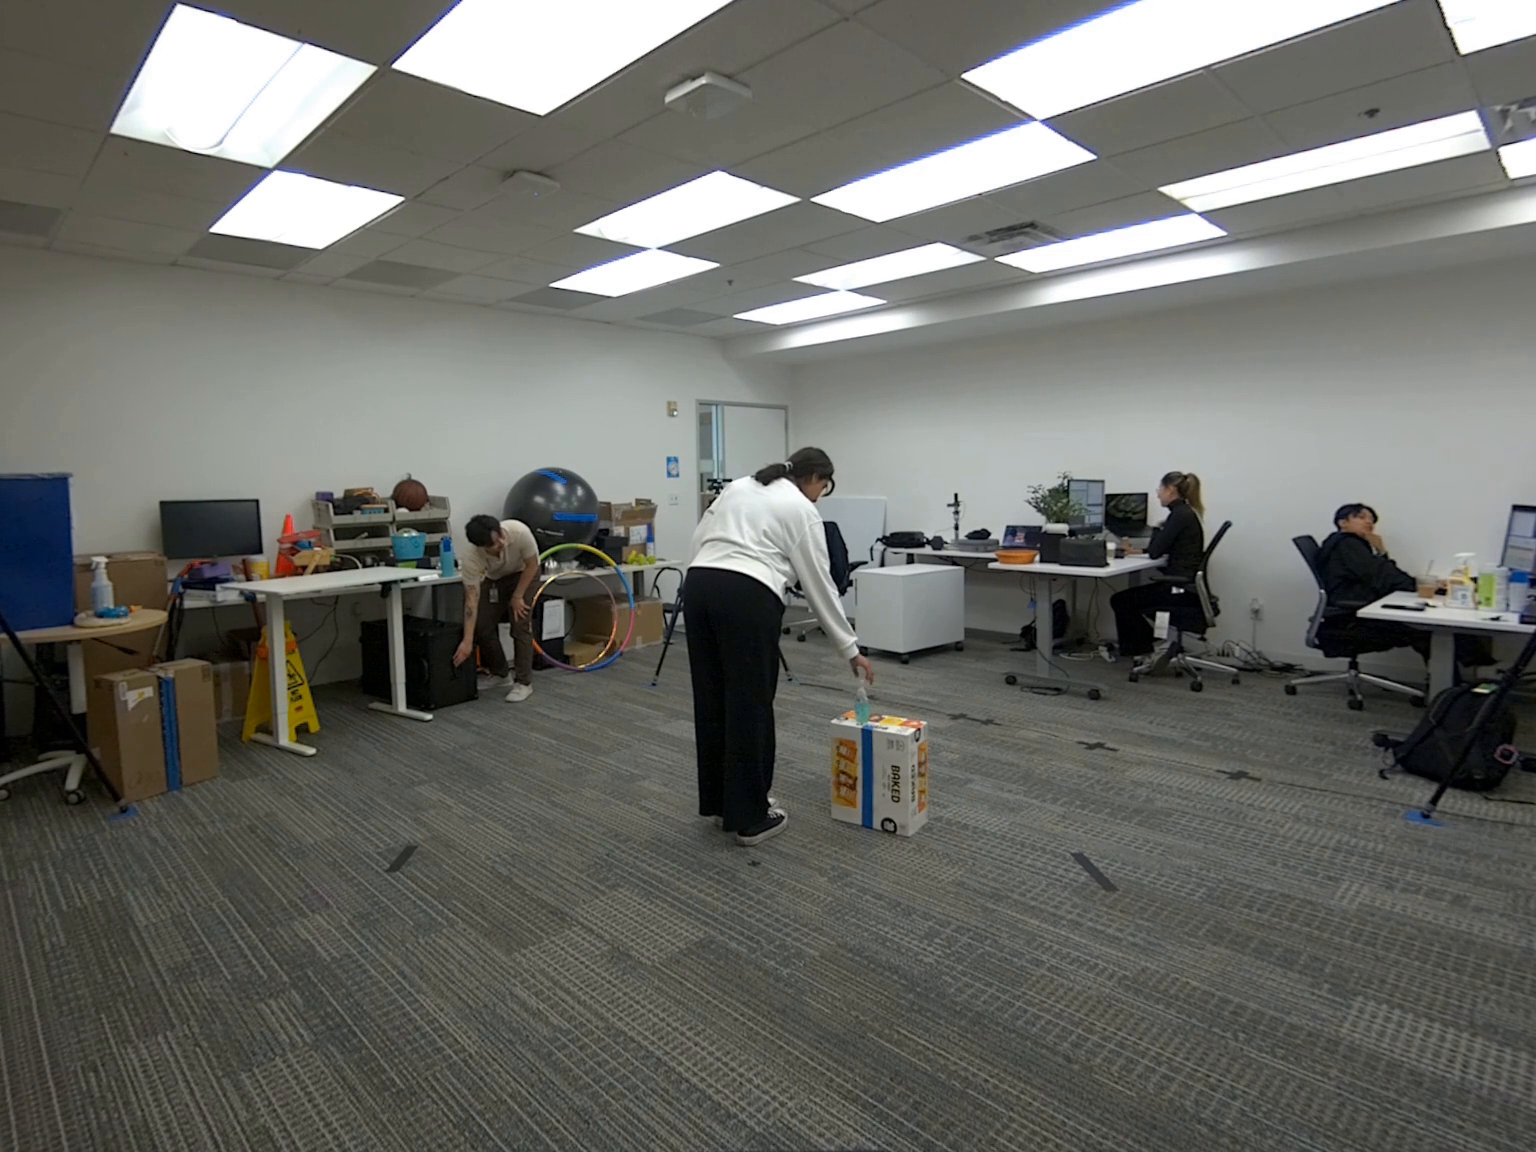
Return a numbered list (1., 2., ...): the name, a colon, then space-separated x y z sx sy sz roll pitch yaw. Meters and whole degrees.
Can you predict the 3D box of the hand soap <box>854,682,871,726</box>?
1. hand soap: 0.378 0.506 3.475 0.042 0.168 0.086 -4 2 -23
